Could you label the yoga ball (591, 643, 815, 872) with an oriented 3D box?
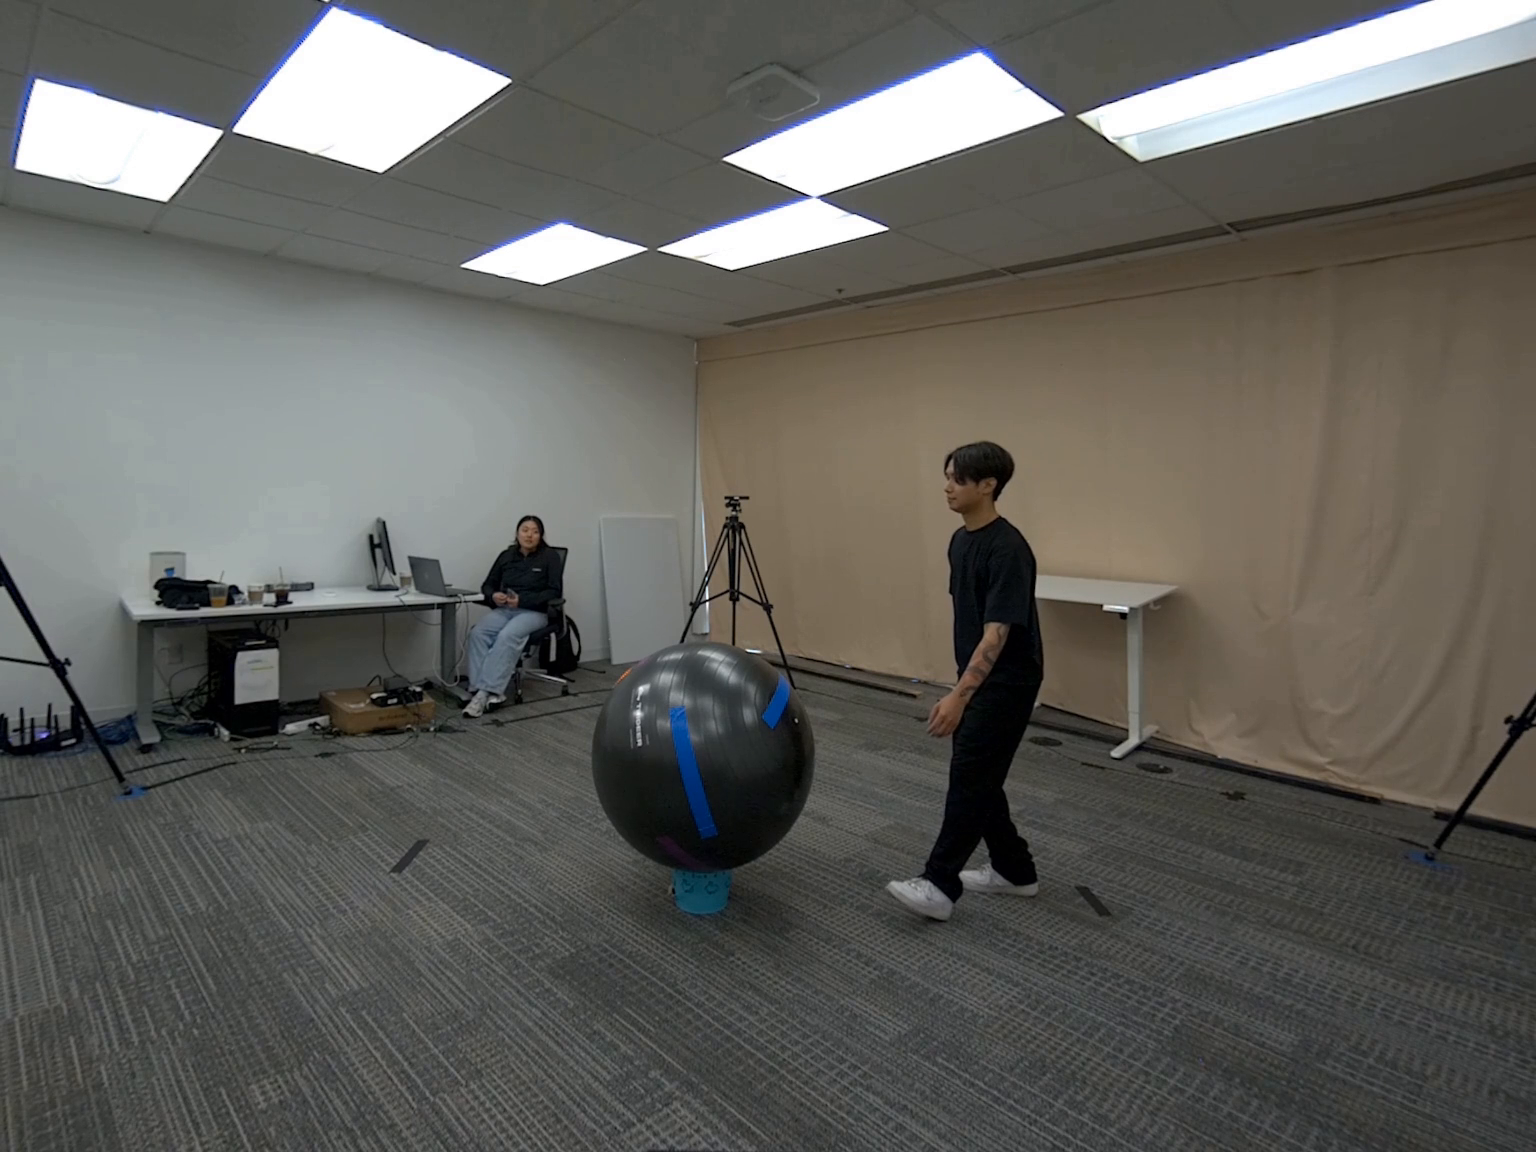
[{"bbox_3d":[-0.231,0.609,2.877,0.757,0.756,0.761,1,4,-1],"label":"yoga ball"}]
